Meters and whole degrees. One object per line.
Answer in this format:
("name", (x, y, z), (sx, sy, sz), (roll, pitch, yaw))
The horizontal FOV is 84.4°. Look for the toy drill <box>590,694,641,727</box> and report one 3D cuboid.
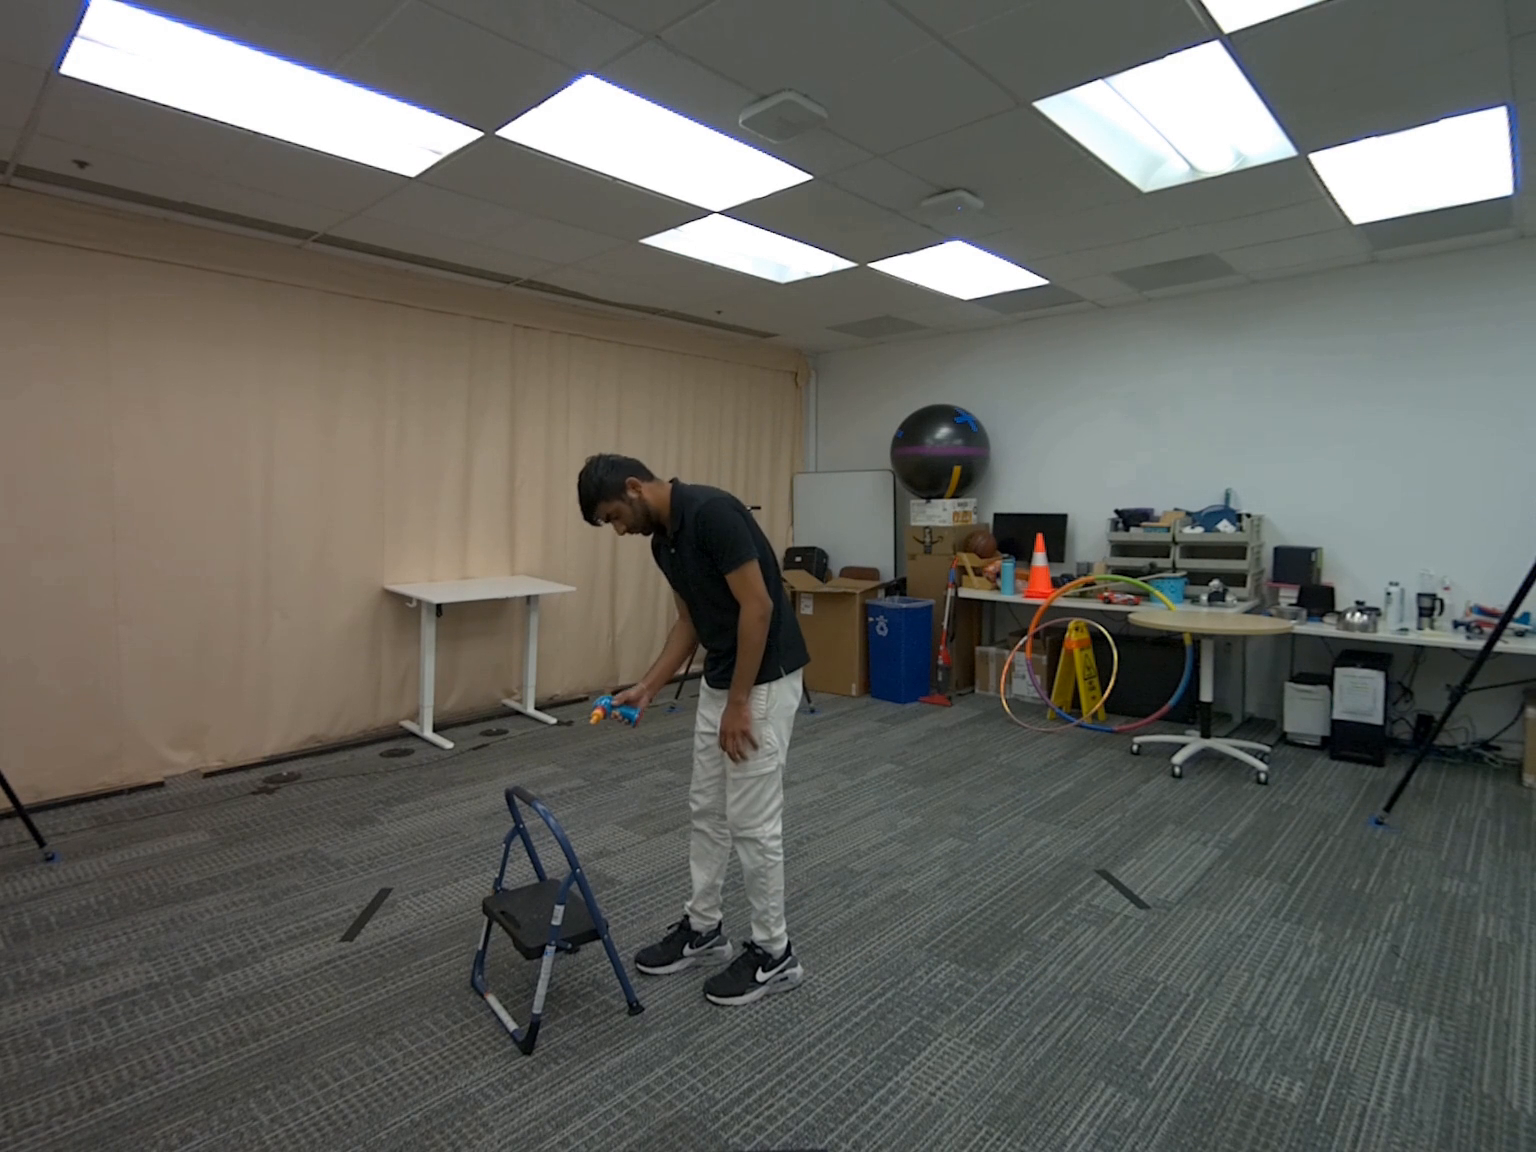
("toy drill", (-0.443, 0.411, 2.489), (0.146, 0.061, 0.171), (15, 14, -3))
